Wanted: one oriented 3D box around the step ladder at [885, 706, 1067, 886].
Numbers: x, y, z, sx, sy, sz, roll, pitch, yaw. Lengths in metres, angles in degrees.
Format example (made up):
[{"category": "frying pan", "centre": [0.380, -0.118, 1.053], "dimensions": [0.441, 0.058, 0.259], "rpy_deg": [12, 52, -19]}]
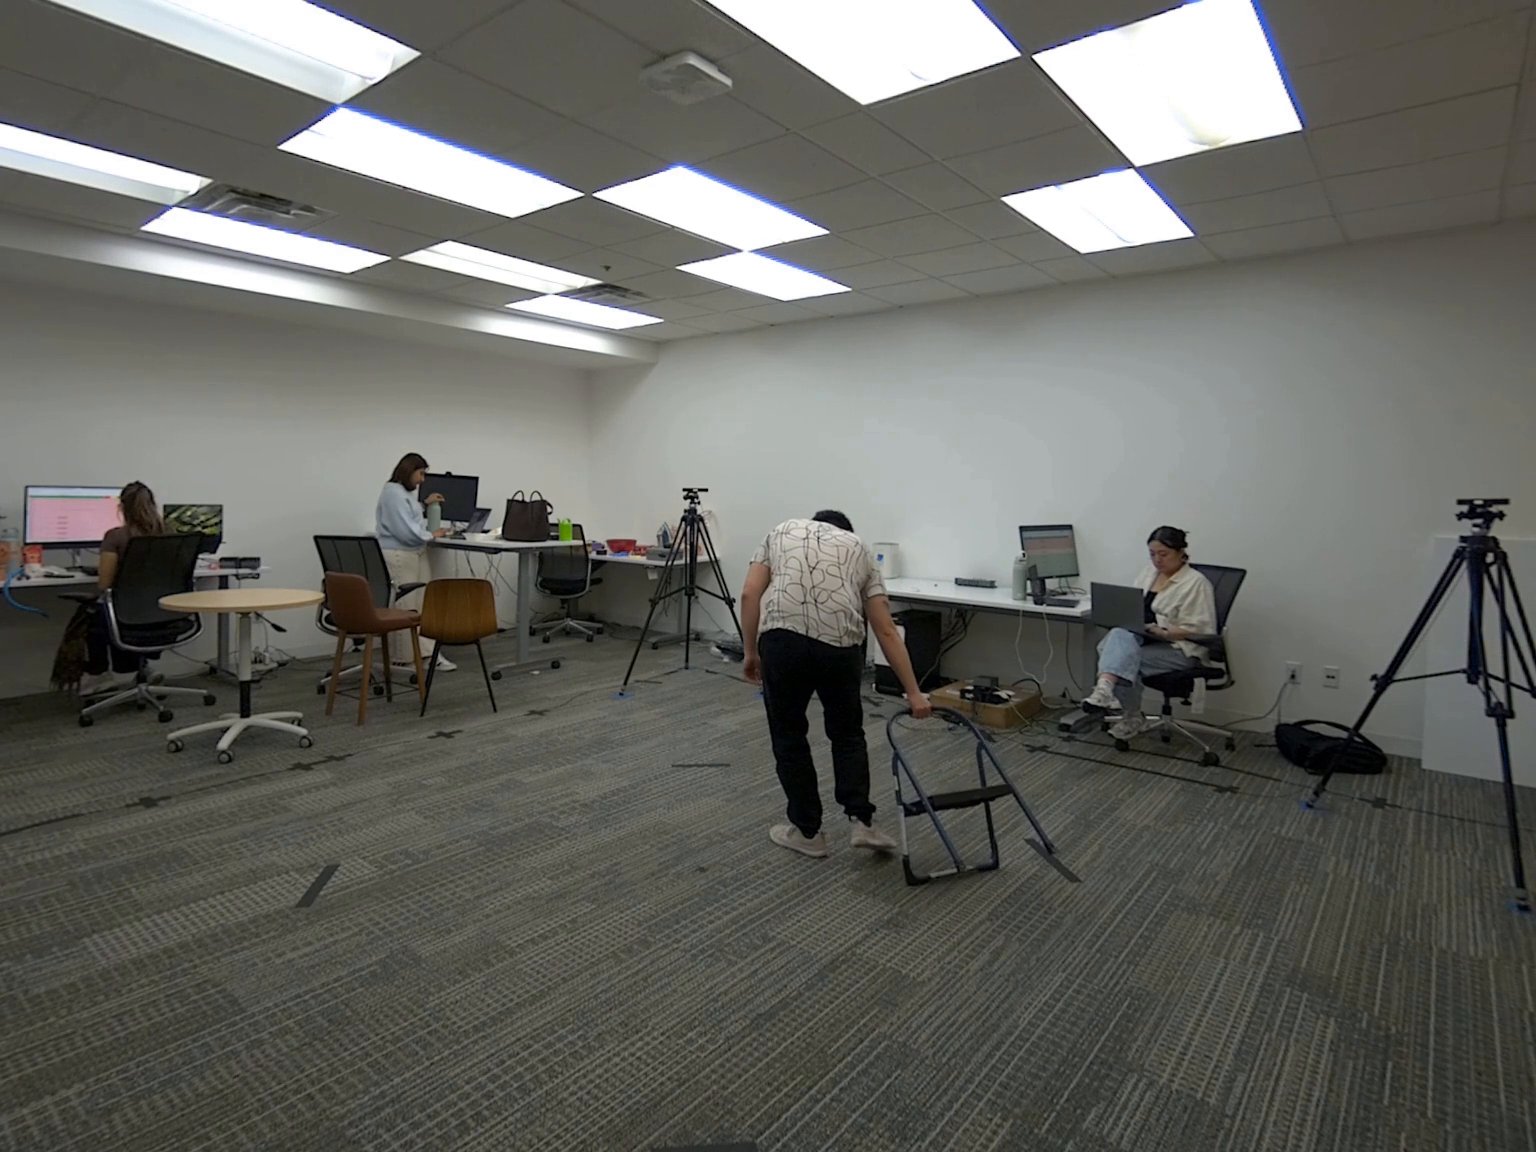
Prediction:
[{"category": "step ladder", "centre": [0.679, 0.751, 3.097], "dimensions": [0.420, 0.623, 0.348], "rpy_deg": [0, -28, -26]}]
